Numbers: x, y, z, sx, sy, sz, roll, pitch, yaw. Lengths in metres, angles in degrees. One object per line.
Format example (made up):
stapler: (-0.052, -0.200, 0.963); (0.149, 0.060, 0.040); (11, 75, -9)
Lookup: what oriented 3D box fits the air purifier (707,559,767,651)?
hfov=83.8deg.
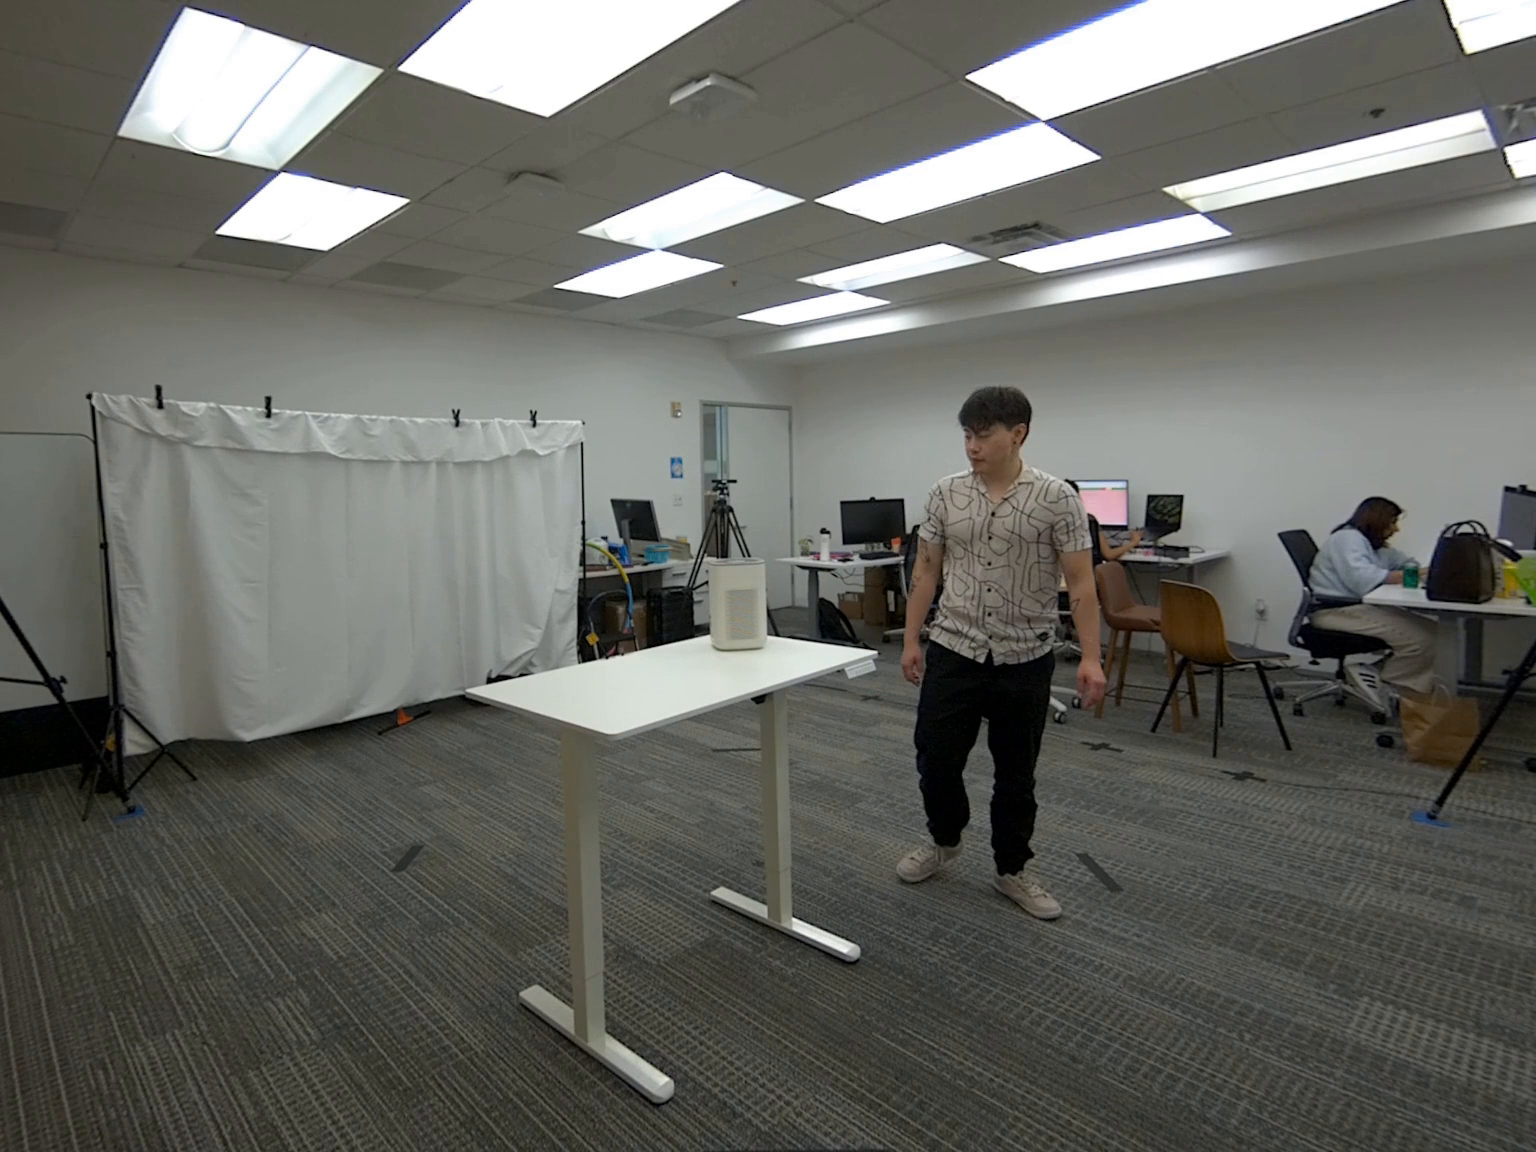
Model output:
air purifier: (-0.087, 0.088, 2.629); (0.171, 0.264, 0.172); (-1, 4, -3)
